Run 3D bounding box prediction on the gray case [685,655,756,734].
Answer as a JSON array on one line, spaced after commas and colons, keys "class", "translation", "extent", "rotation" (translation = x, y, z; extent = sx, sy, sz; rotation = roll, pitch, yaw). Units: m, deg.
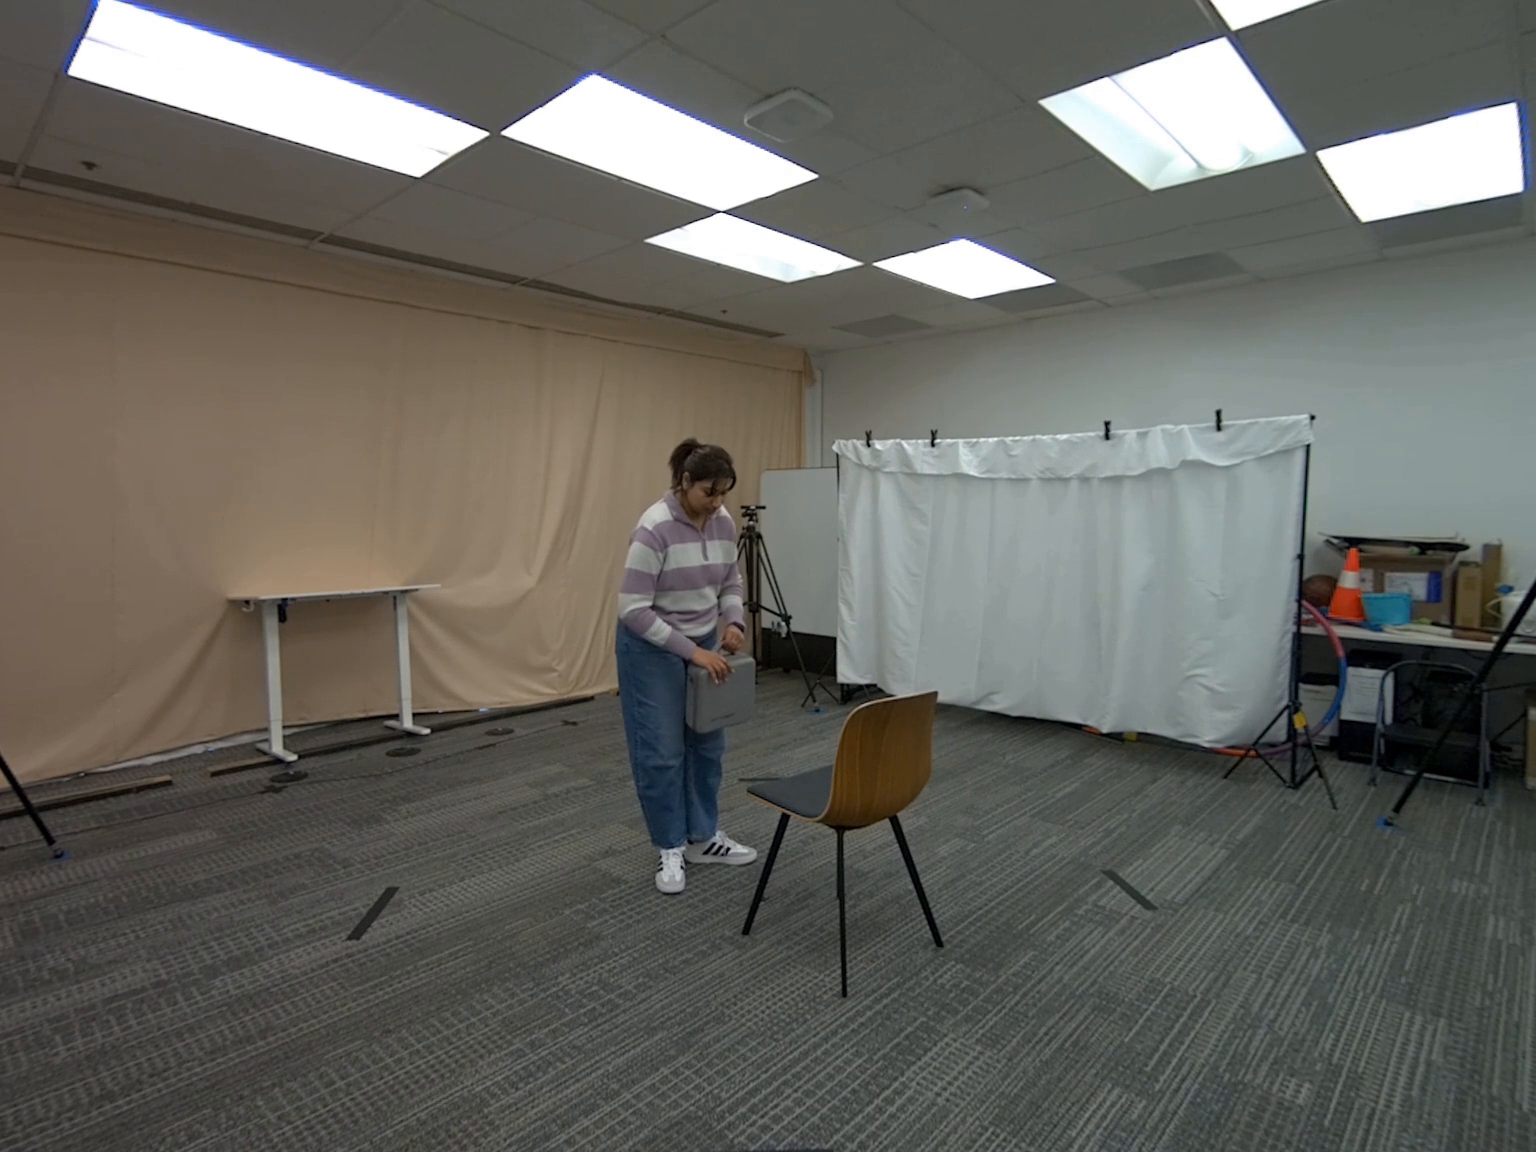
[{"class": "gray case", "translation": [-0.174, 0.415, 3.038], "extent": [0.250, 0.259, 0.108], "rotation": [-5, 12, -35]}]
